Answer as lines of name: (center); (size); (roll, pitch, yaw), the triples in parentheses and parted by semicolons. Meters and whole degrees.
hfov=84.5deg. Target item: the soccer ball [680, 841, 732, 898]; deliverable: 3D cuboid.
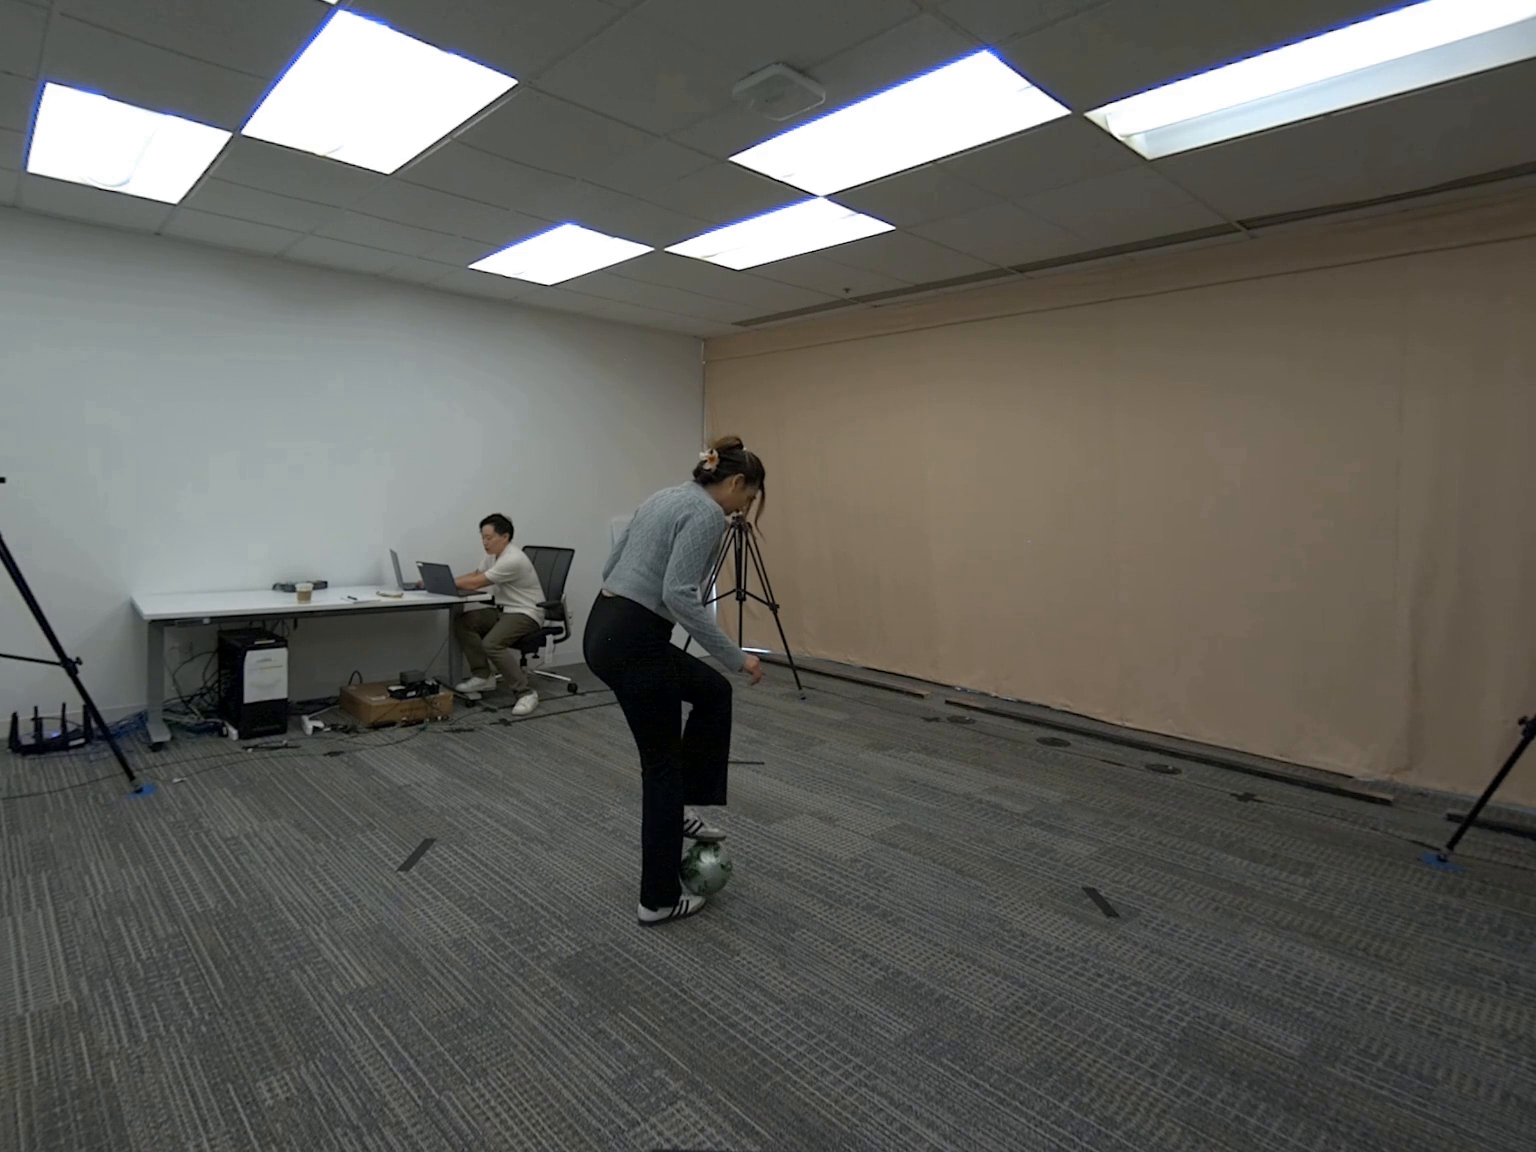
soccer ball: (-0.227, 1.004, 2.902); (0.187, 0.187, 0.188); (1, 4, -1)
